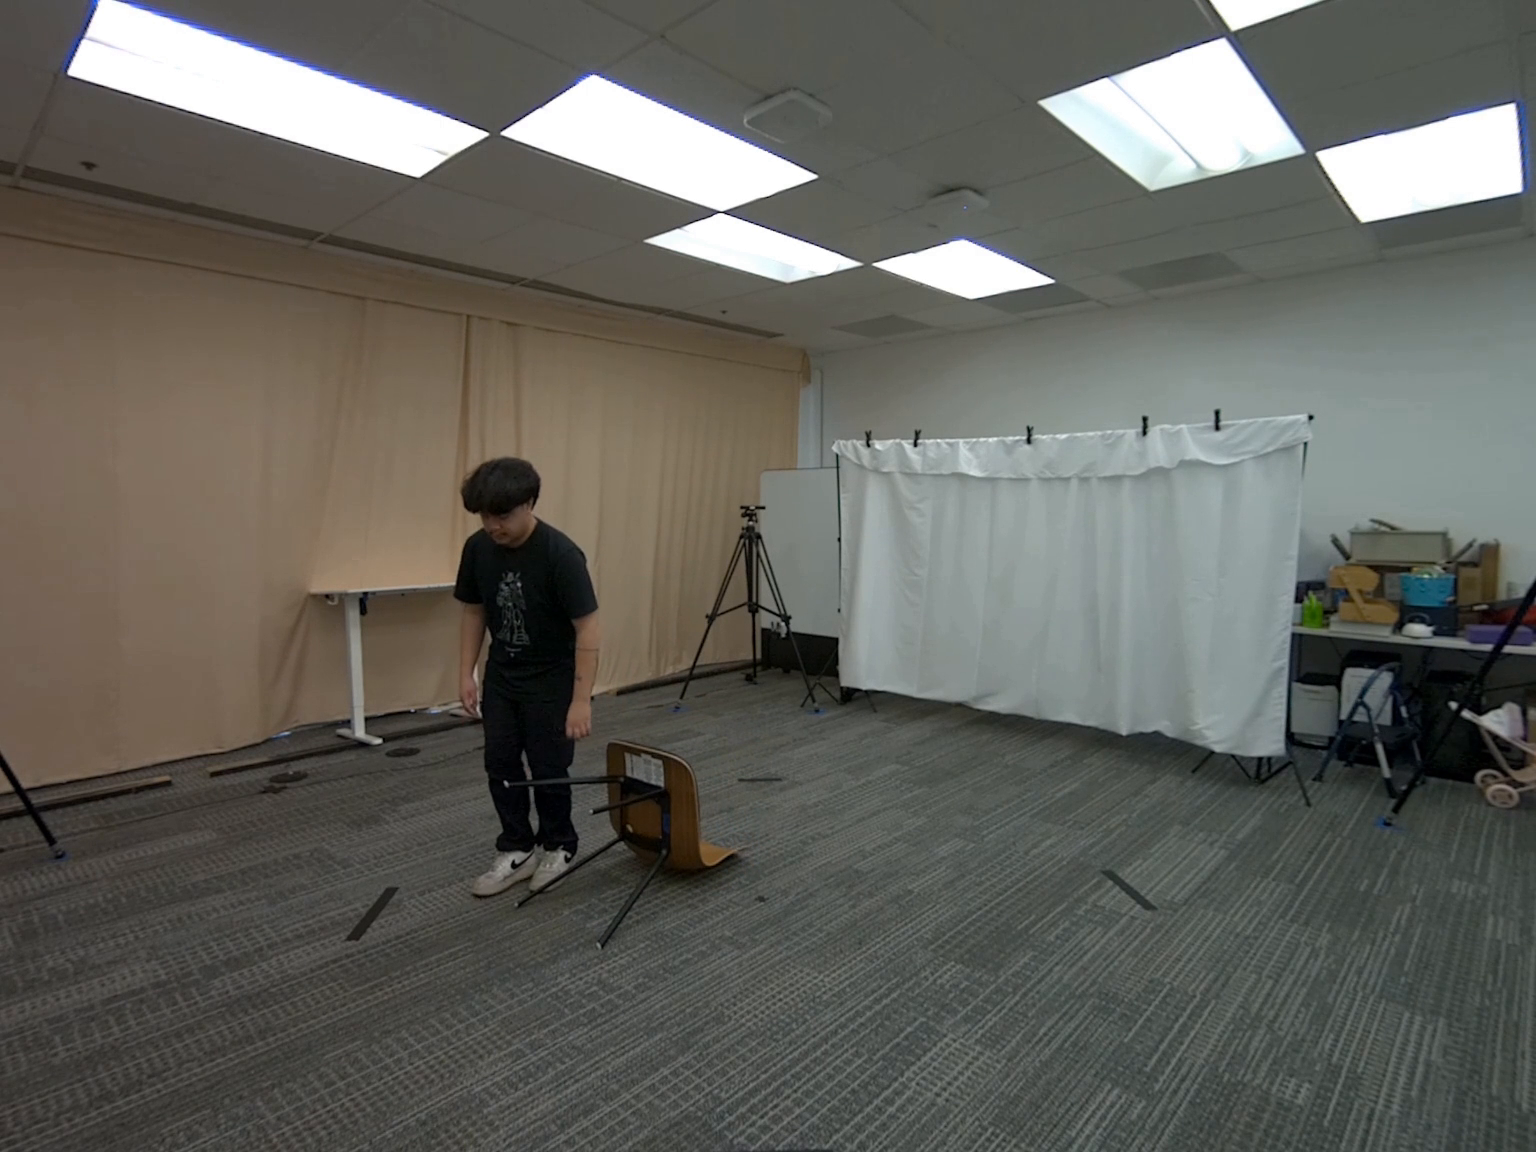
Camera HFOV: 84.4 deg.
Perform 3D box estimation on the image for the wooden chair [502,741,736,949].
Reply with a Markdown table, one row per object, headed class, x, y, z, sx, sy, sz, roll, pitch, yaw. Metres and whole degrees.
| class | x | y | z | sx | sy | sz | roll | pitch | yaw |
| --- | --- | --- | --- | --- | --- | --- | --- | --- | --- |
| wooden chair | -0.450 | 0.884 | 3.085 | 0.493 | 0.522 | 0.851 | 2 | 4 | 38 |
